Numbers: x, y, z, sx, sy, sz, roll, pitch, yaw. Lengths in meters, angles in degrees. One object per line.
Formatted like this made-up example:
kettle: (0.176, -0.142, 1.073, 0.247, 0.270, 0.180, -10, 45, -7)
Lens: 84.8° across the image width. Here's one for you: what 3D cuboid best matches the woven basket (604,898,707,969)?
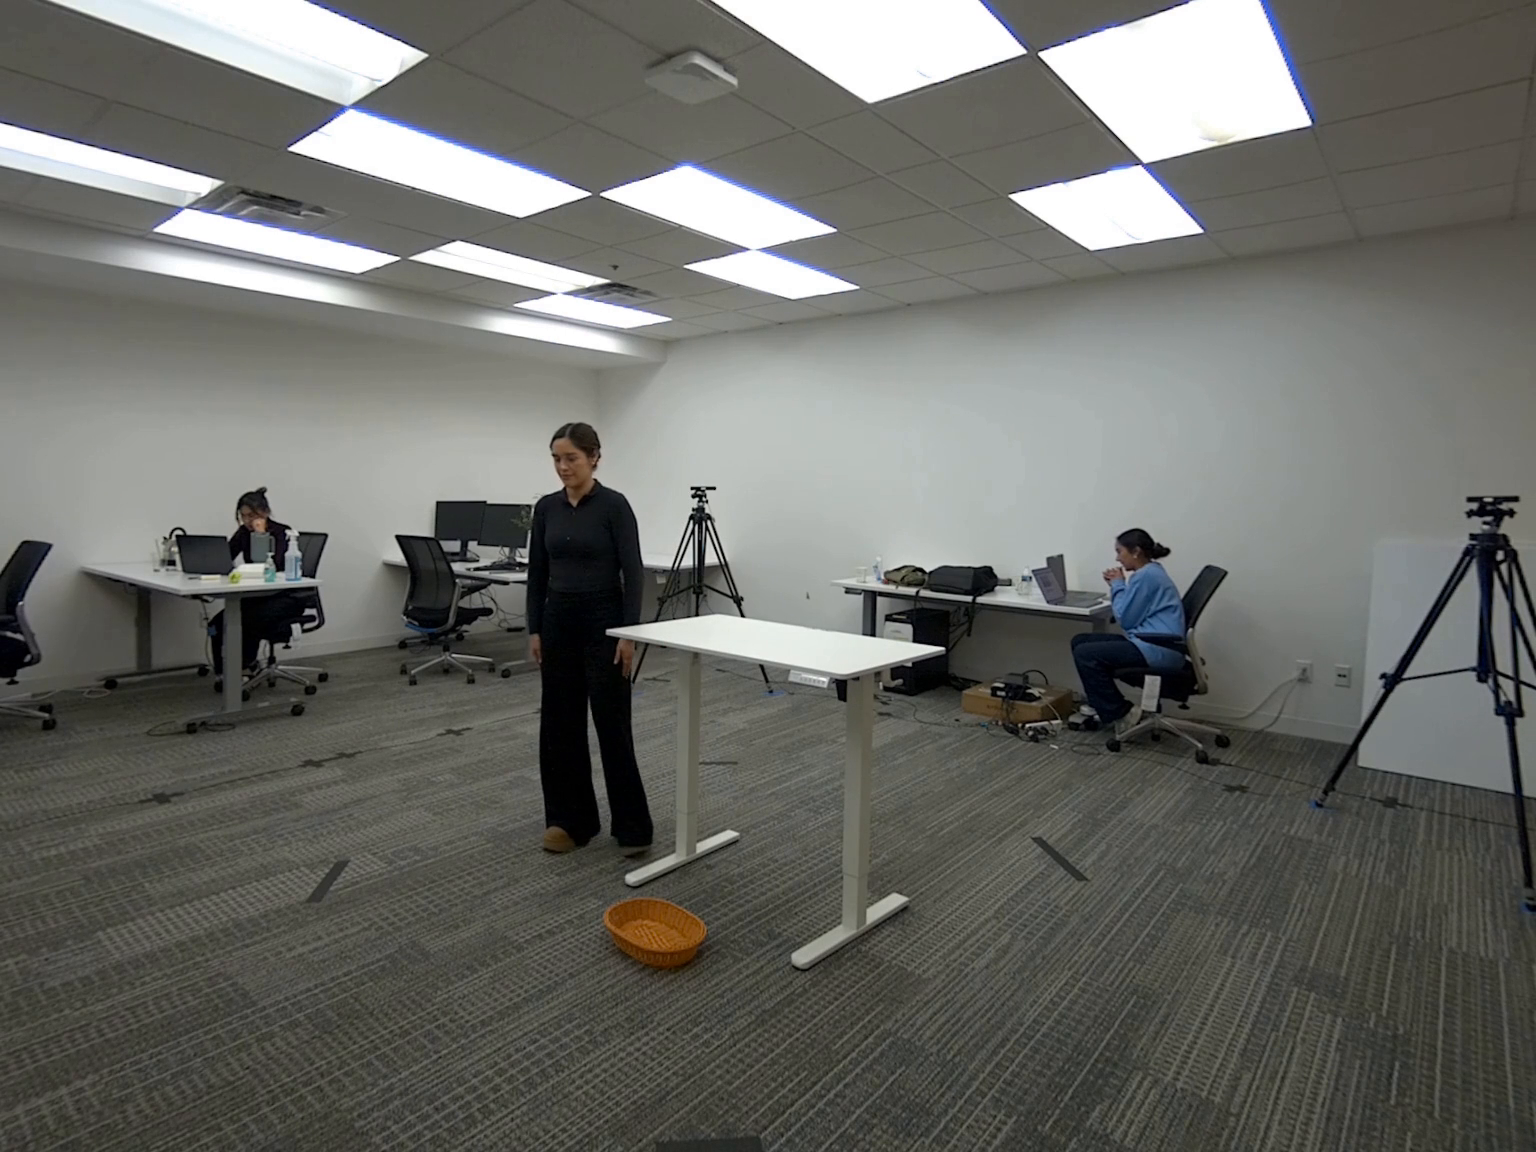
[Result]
woven basket: (-0.350, 1.072, 2.569, 0.362, 0.073, 0.245, 7, 7, 44)
